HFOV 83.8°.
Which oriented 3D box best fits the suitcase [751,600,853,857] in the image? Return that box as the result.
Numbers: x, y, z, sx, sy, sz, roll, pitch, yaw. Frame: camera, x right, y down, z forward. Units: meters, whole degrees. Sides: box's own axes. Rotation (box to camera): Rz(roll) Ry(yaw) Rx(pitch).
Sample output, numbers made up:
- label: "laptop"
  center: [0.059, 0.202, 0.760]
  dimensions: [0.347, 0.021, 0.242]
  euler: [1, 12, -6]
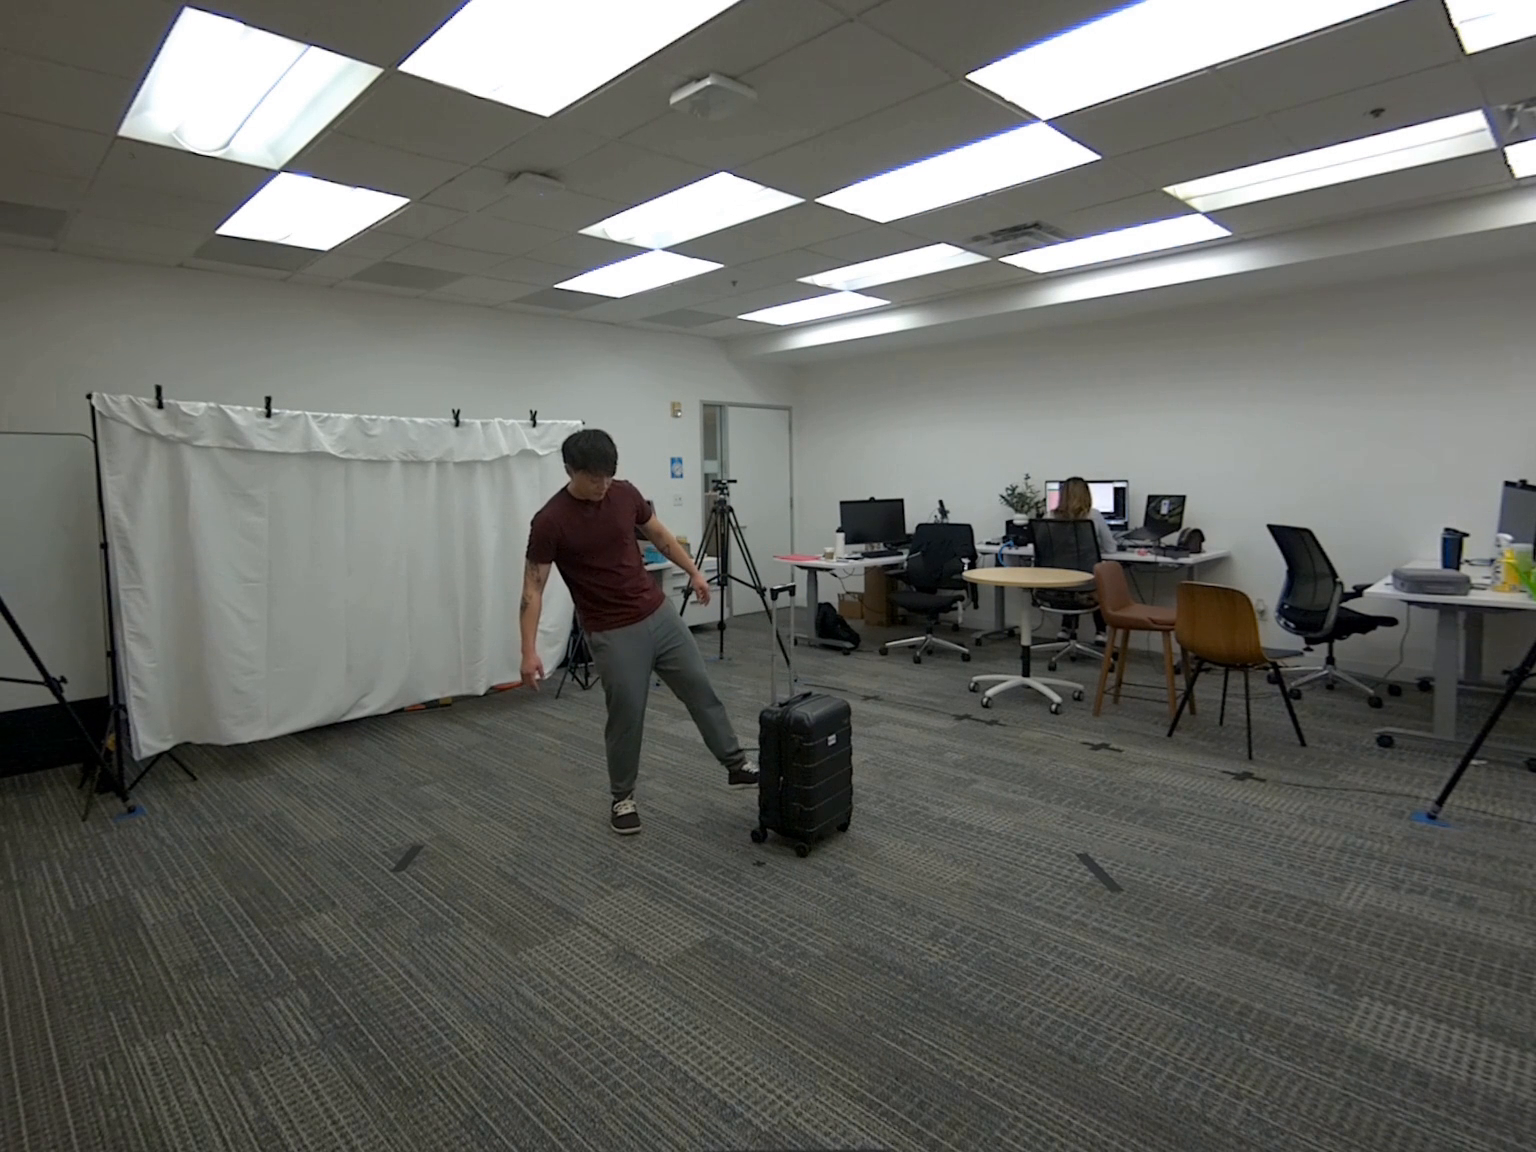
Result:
- label: "suitcase"
  center: [0.157, 0.544, 3.310]
  dimensions: [0.265, 0.974, 0.374]
  euler: [5, 6, 34]
